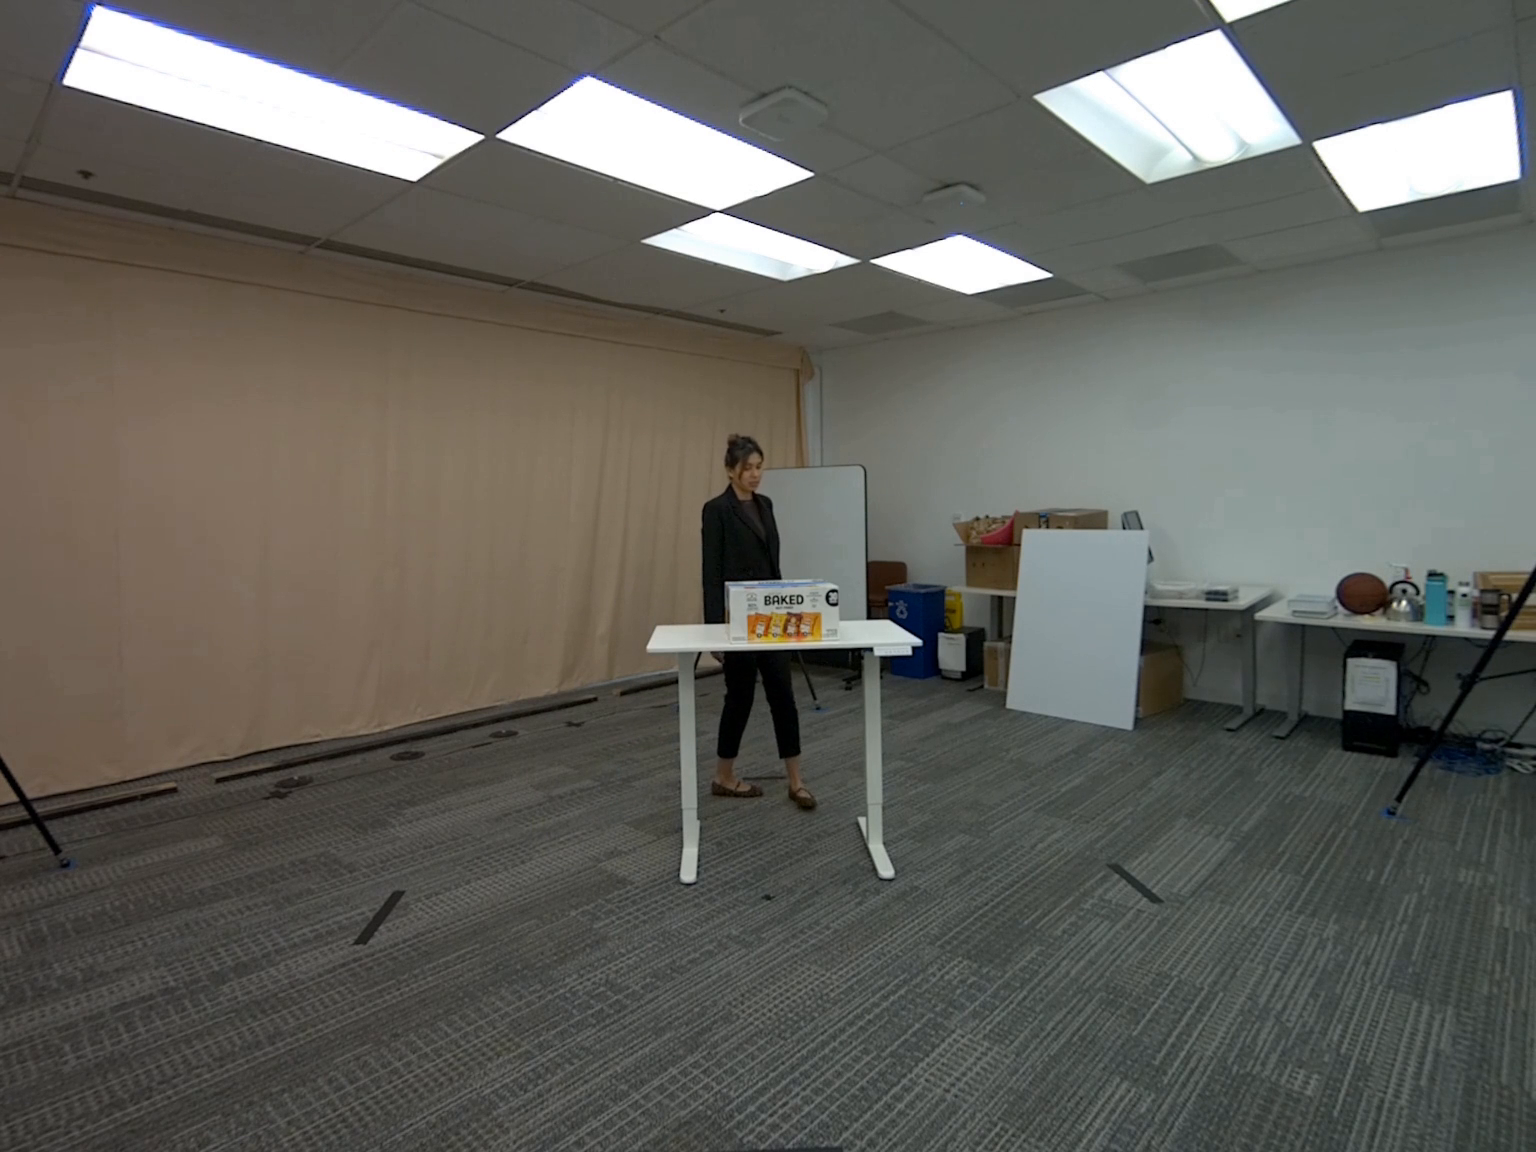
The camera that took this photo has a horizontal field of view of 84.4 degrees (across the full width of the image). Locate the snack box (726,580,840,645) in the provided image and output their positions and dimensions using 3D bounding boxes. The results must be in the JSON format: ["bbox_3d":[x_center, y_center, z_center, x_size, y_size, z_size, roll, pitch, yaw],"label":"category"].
[{"bbox_3d":[0.045,0.133,3.263,0.404,0.205,0.342,-2,4,-4],"label":"snack box"}]
